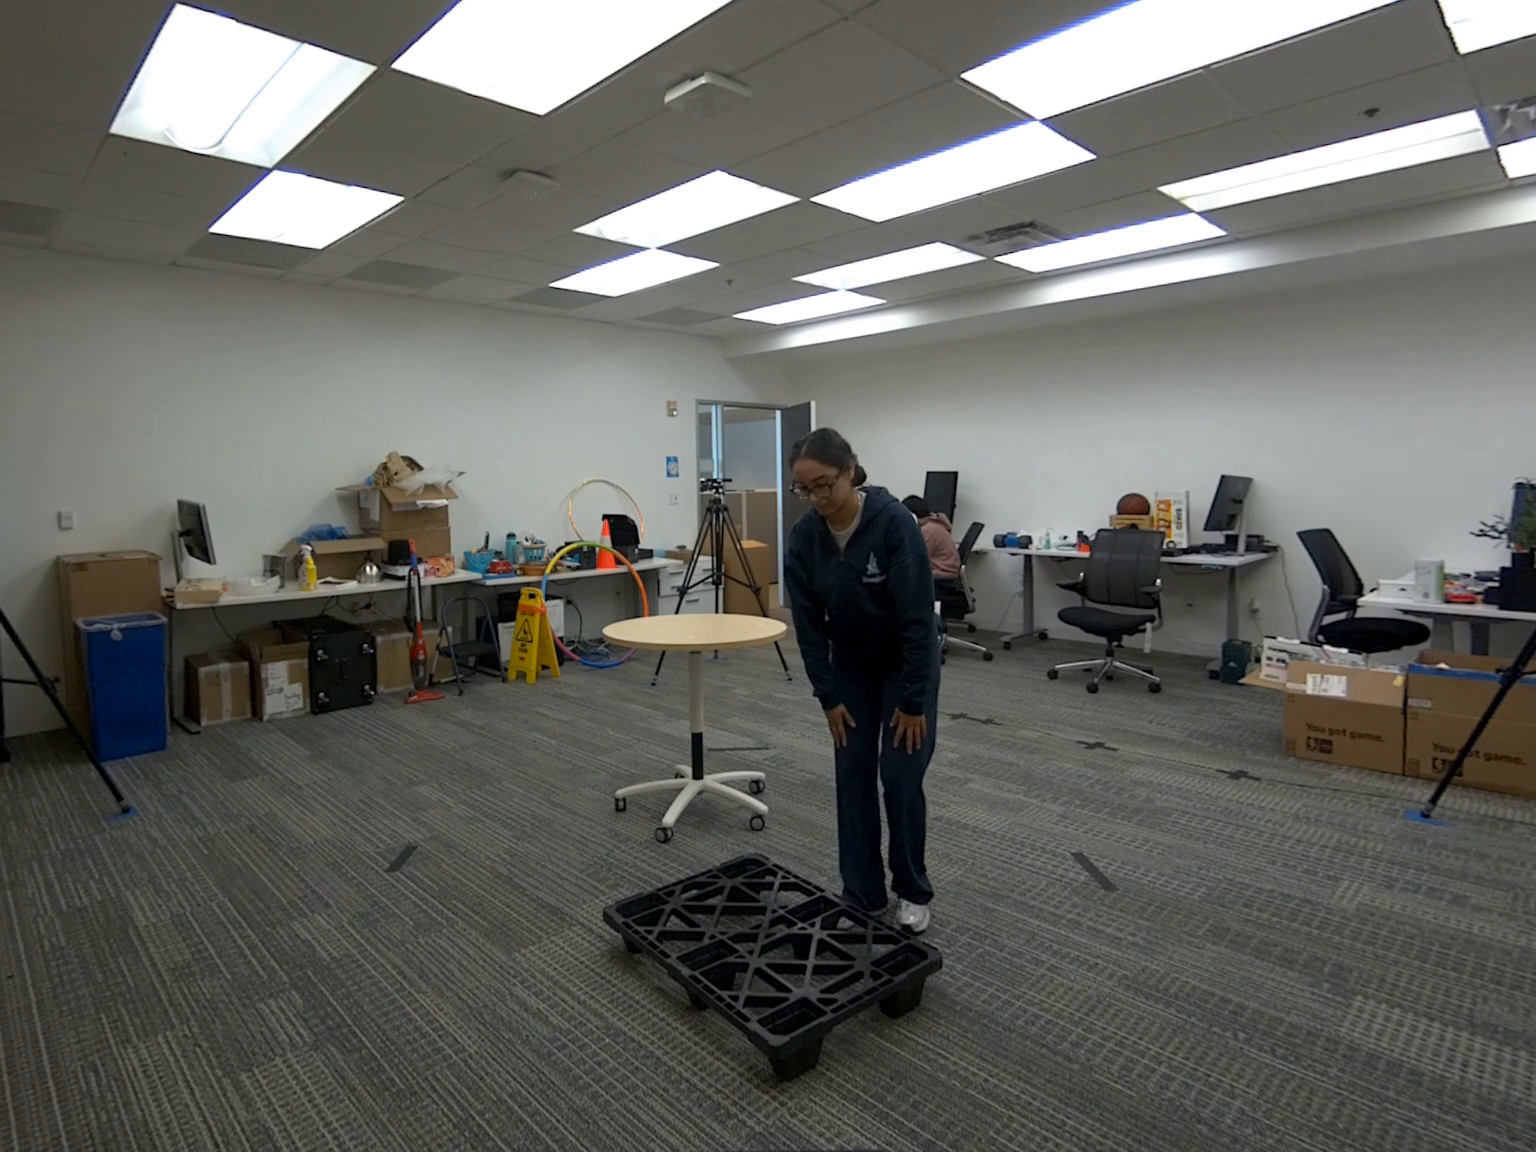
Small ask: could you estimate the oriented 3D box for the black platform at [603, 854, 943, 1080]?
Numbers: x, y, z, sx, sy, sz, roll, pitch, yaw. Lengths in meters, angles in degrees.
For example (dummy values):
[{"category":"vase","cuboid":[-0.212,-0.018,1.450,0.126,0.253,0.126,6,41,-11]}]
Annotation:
[{"category":"black platform","cuboid":[-0.012,1.062,2.408,0.589,0.142,0.830,-5,8,-38]}]
